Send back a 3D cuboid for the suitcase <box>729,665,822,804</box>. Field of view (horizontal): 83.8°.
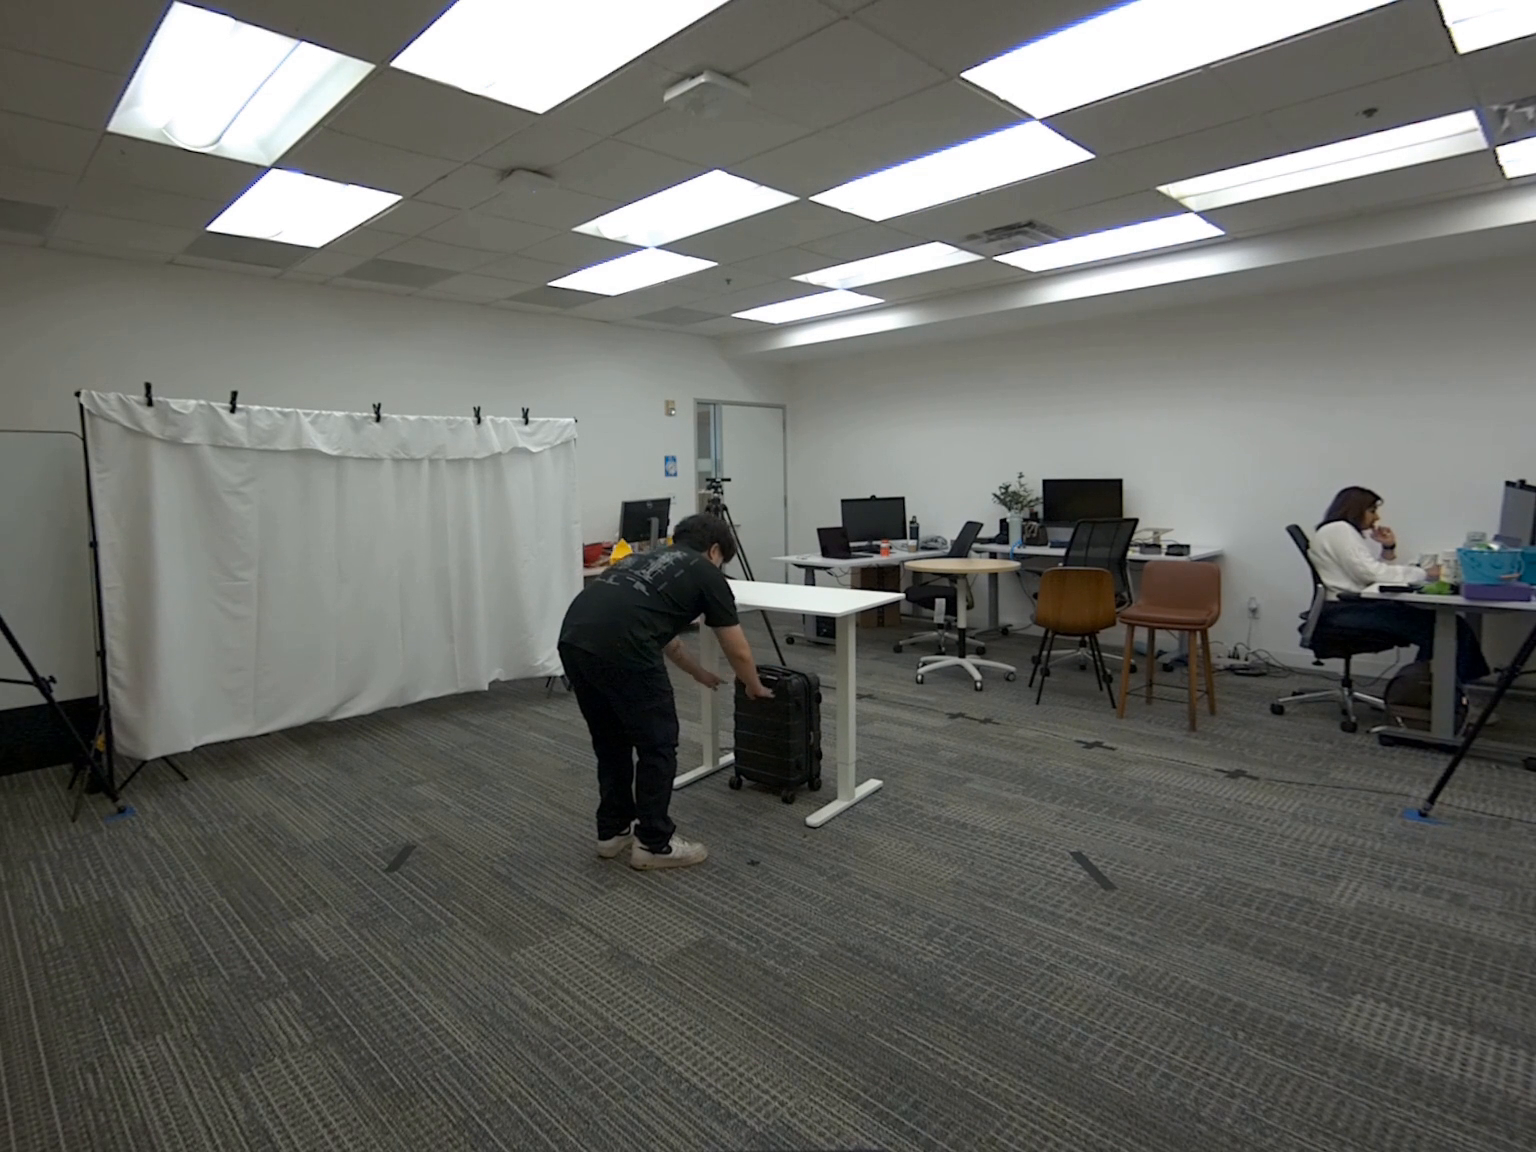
[{"bbox_3d":[0.044,0.690,3.854,0.387,0.548,0.241,4,3,37],"label":"suitcase"}]
